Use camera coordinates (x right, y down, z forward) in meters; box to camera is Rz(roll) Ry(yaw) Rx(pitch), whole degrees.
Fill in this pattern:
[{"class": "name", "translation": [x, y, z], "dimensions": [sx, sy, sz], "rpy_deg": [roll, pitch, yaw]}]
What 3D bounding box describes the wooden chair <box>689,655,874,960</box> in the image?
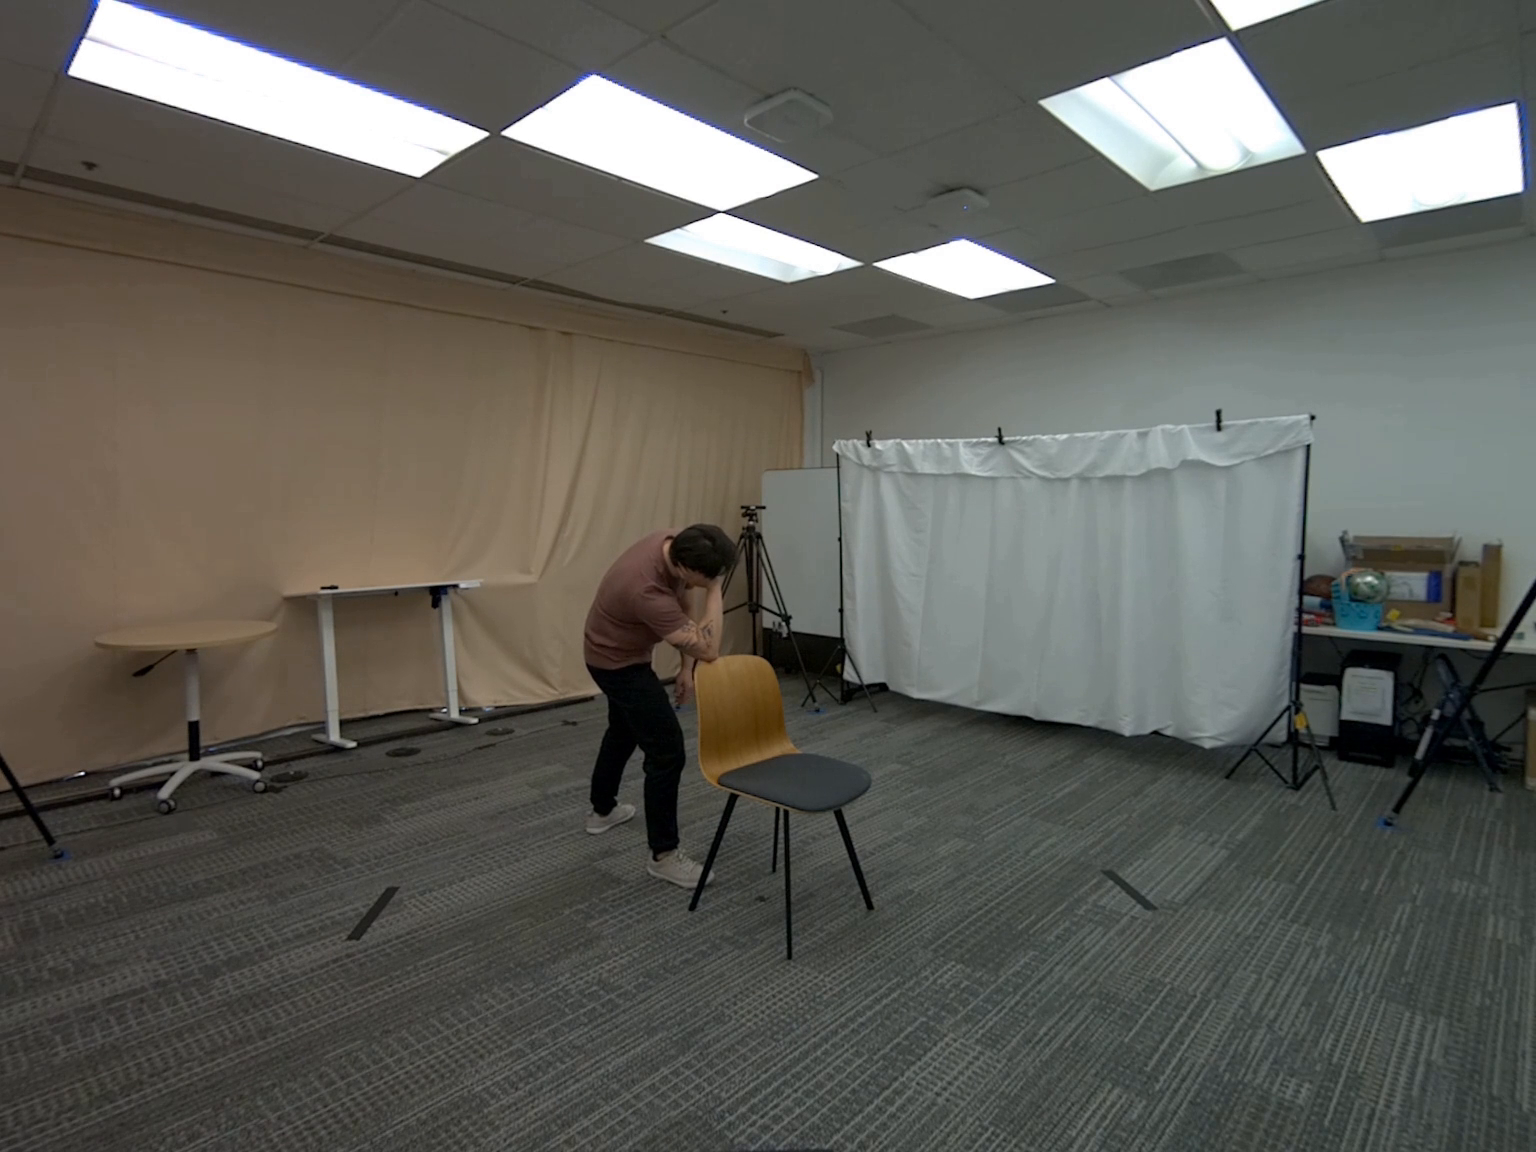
[{"class": "wooden chair", "translation": [0.054, 0.726, 2.862], "dimensions": [0.539, 0.877, 0.463], "rpy_deg": [-3, 0, 43]}]
